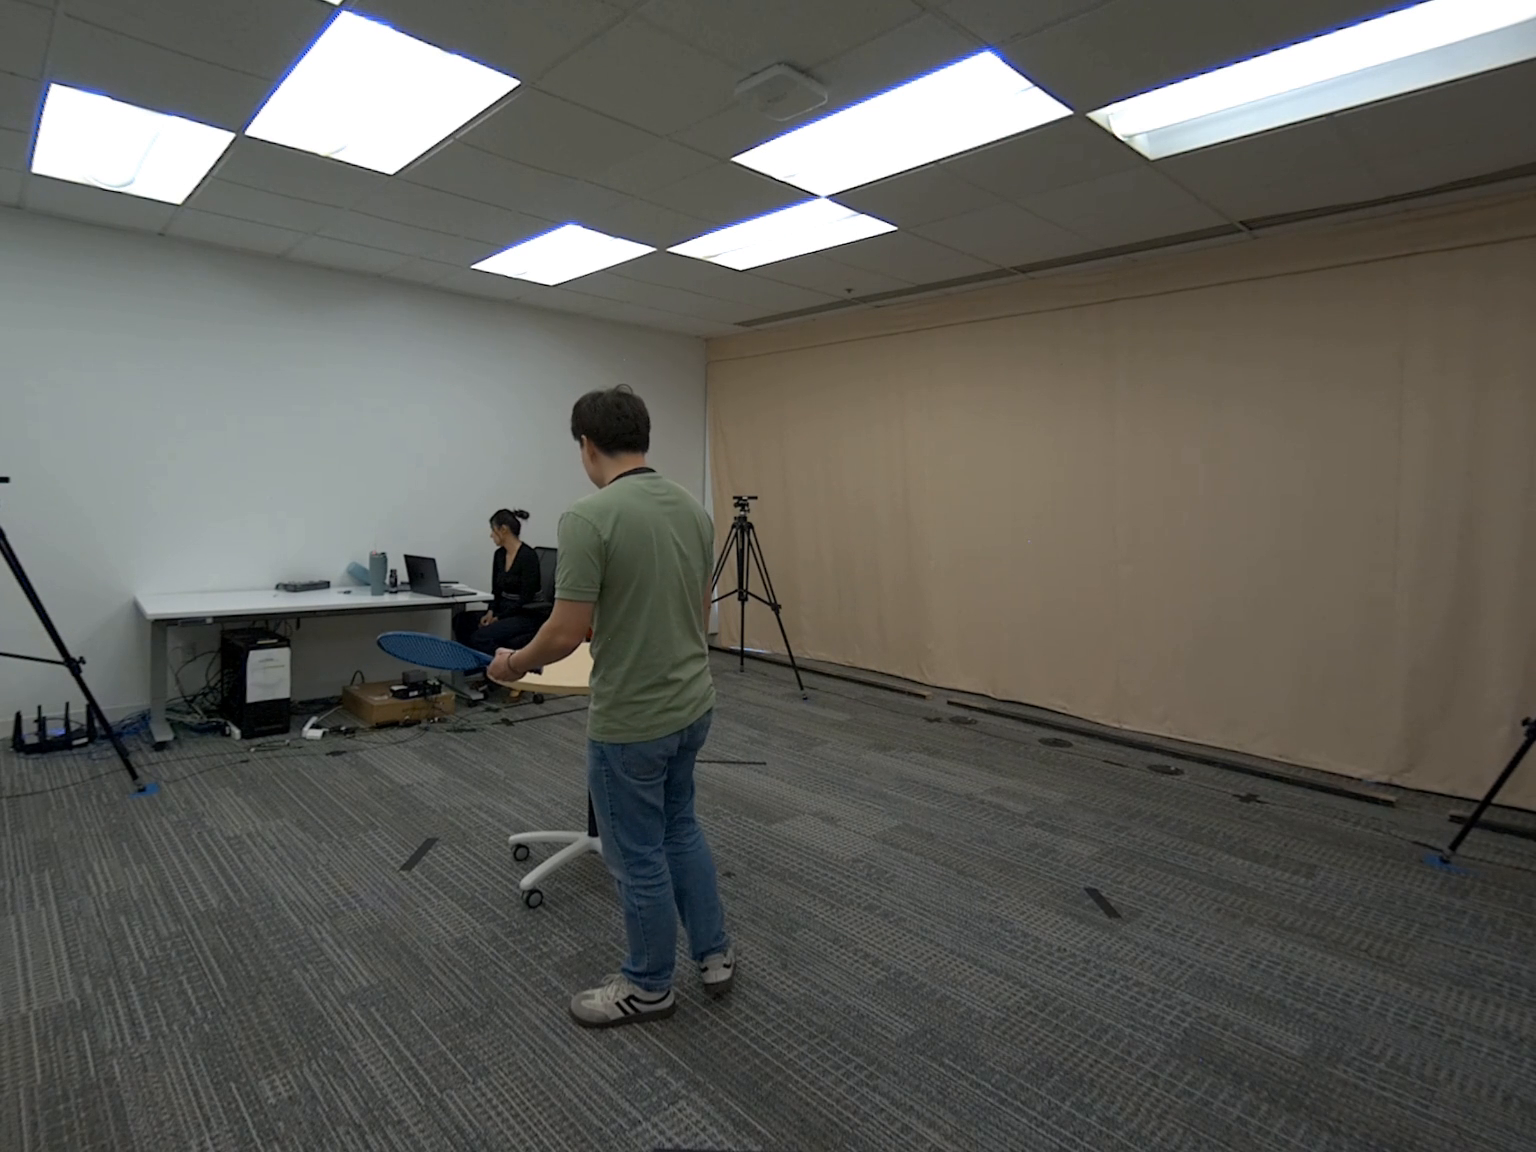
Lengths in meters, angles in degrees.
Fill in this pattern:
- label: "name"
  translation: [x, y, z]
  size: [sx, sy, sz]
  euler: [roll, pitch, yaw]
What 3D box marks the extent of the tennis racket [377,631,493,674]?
- label: "tennis racket"
  translation: [-0.809, 0.216, 2.194]
  size: [0.431, 0.032, 0.211]
  euler: [10, -30, -4]
